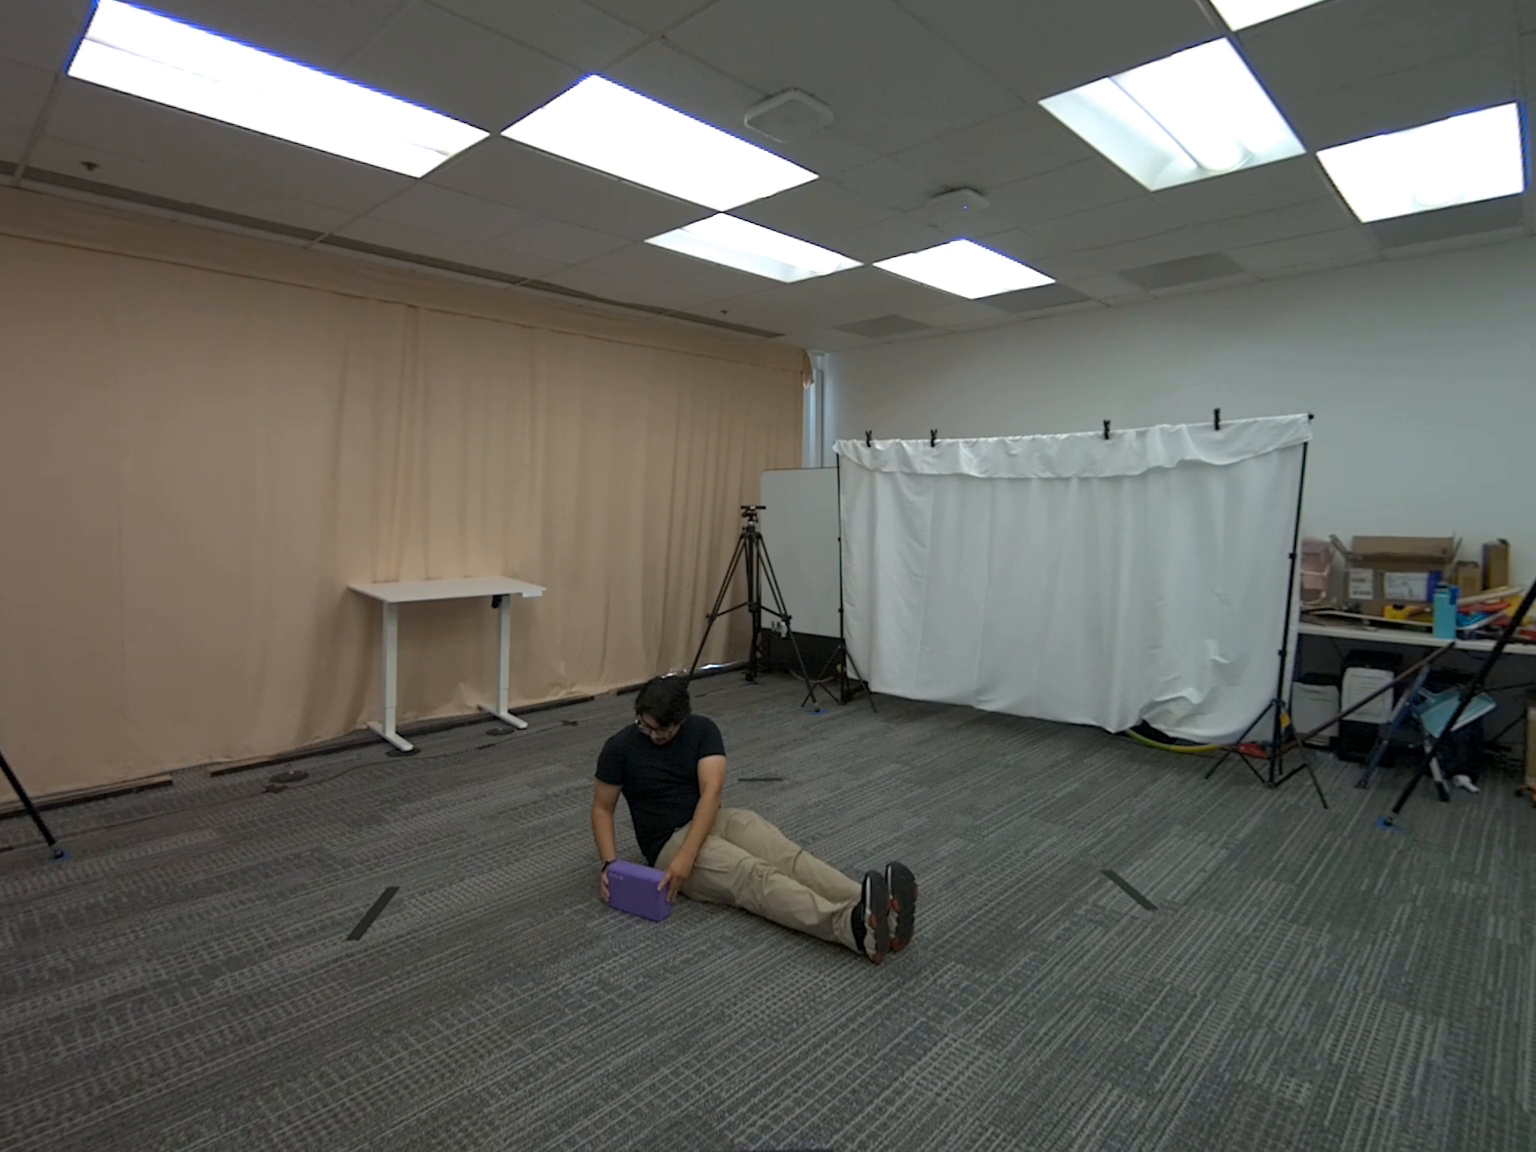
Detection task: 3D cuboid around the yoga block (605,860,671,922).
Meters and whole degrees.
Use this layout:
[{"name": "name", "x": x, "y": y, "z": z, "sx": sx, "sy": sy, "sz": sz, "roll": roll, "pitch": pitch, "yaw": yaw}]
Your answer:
[{"name": "yoga block", "x": -0.446, "y": 1.078, "z": 2.905, "sx": 0.236, "sy": 0.148, "sz": 0.074, "roll": 2, "pitch": 5, "yaw": 31}]
